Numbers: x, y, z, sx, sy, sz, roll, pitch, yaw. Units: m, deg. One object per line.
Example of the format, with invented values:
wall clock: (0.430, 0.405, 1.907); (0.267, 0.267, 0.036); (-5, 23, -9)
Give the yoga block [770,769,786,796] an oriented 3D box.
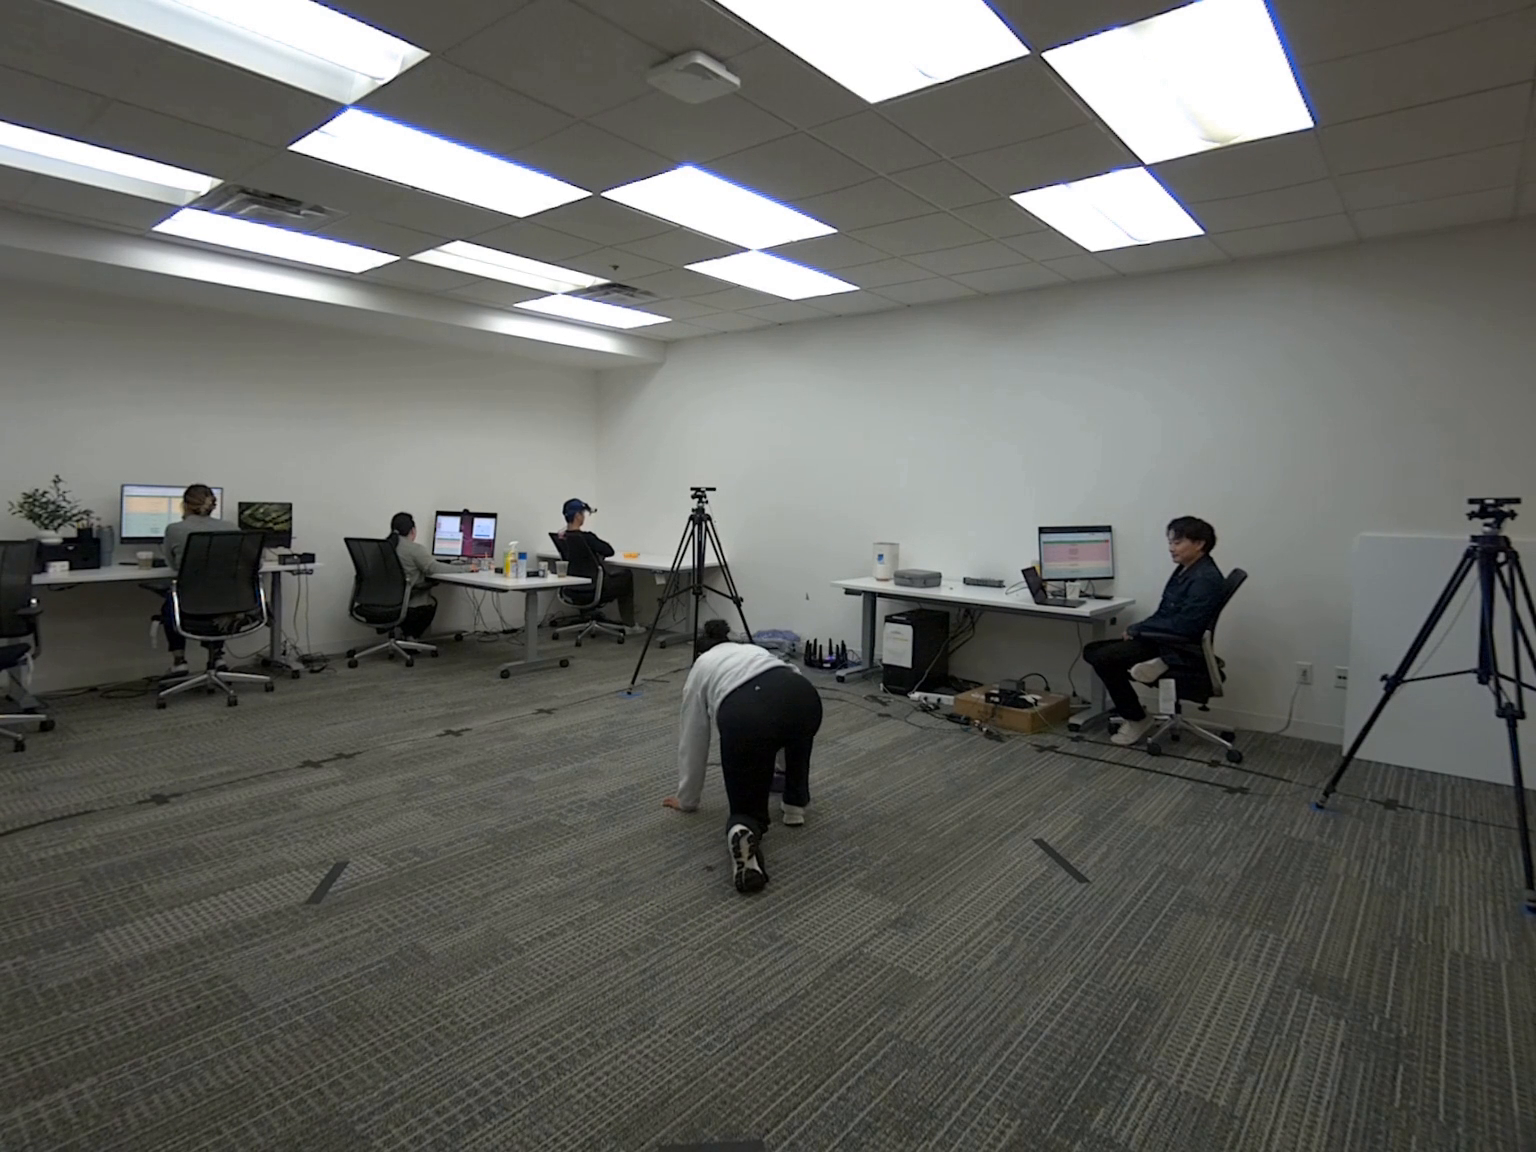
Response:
yoga block: (-0.025, 0.941, 3.970); (0.230, 0.076, 0.149); (2, 5, 3)
